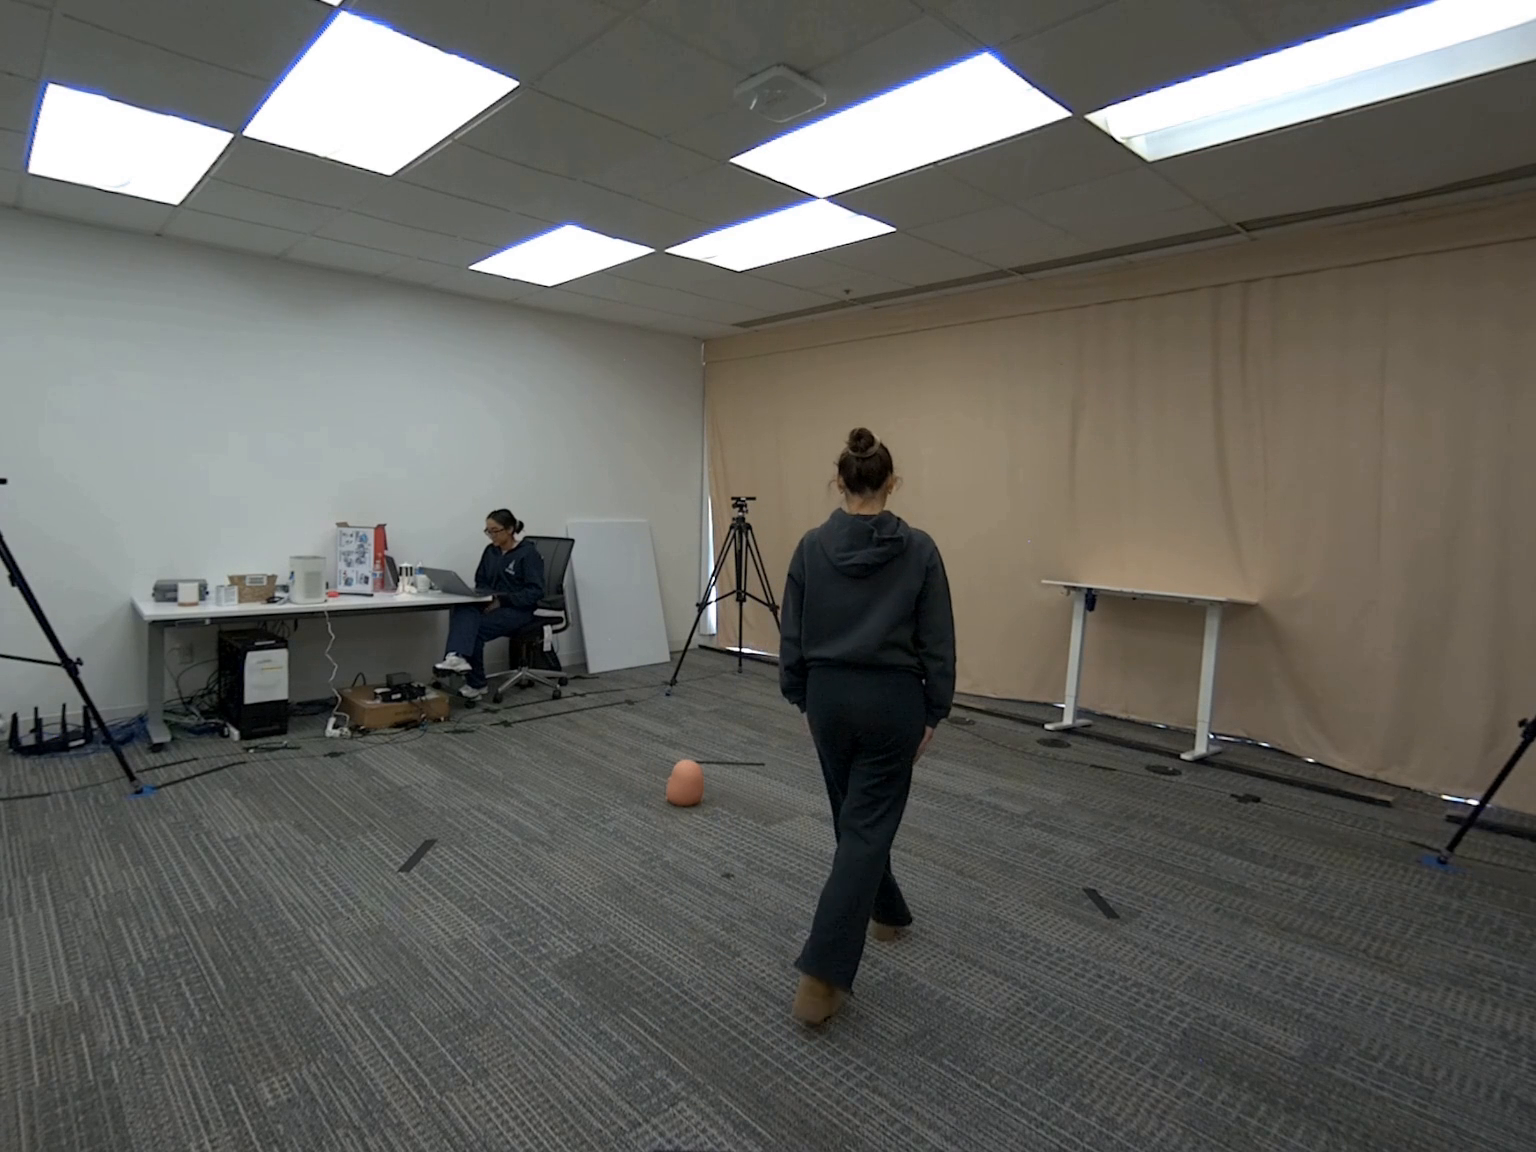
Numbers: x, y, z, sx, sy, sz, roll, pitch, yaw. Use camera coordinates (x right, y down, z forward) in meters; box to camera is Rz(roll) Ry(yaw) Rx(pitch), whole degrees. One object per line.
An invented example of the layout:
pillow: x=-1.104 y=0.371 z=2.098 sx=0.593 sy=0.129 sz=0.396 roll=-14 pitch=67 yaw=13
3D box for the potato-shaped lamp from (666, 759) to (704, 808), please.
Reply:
potato-shaped lamp: x=-0.394 y=0.937 z=3.852 sx=0.176 sy=0.198 sz=0.161 roll=7 pitch=4 yaw=43
